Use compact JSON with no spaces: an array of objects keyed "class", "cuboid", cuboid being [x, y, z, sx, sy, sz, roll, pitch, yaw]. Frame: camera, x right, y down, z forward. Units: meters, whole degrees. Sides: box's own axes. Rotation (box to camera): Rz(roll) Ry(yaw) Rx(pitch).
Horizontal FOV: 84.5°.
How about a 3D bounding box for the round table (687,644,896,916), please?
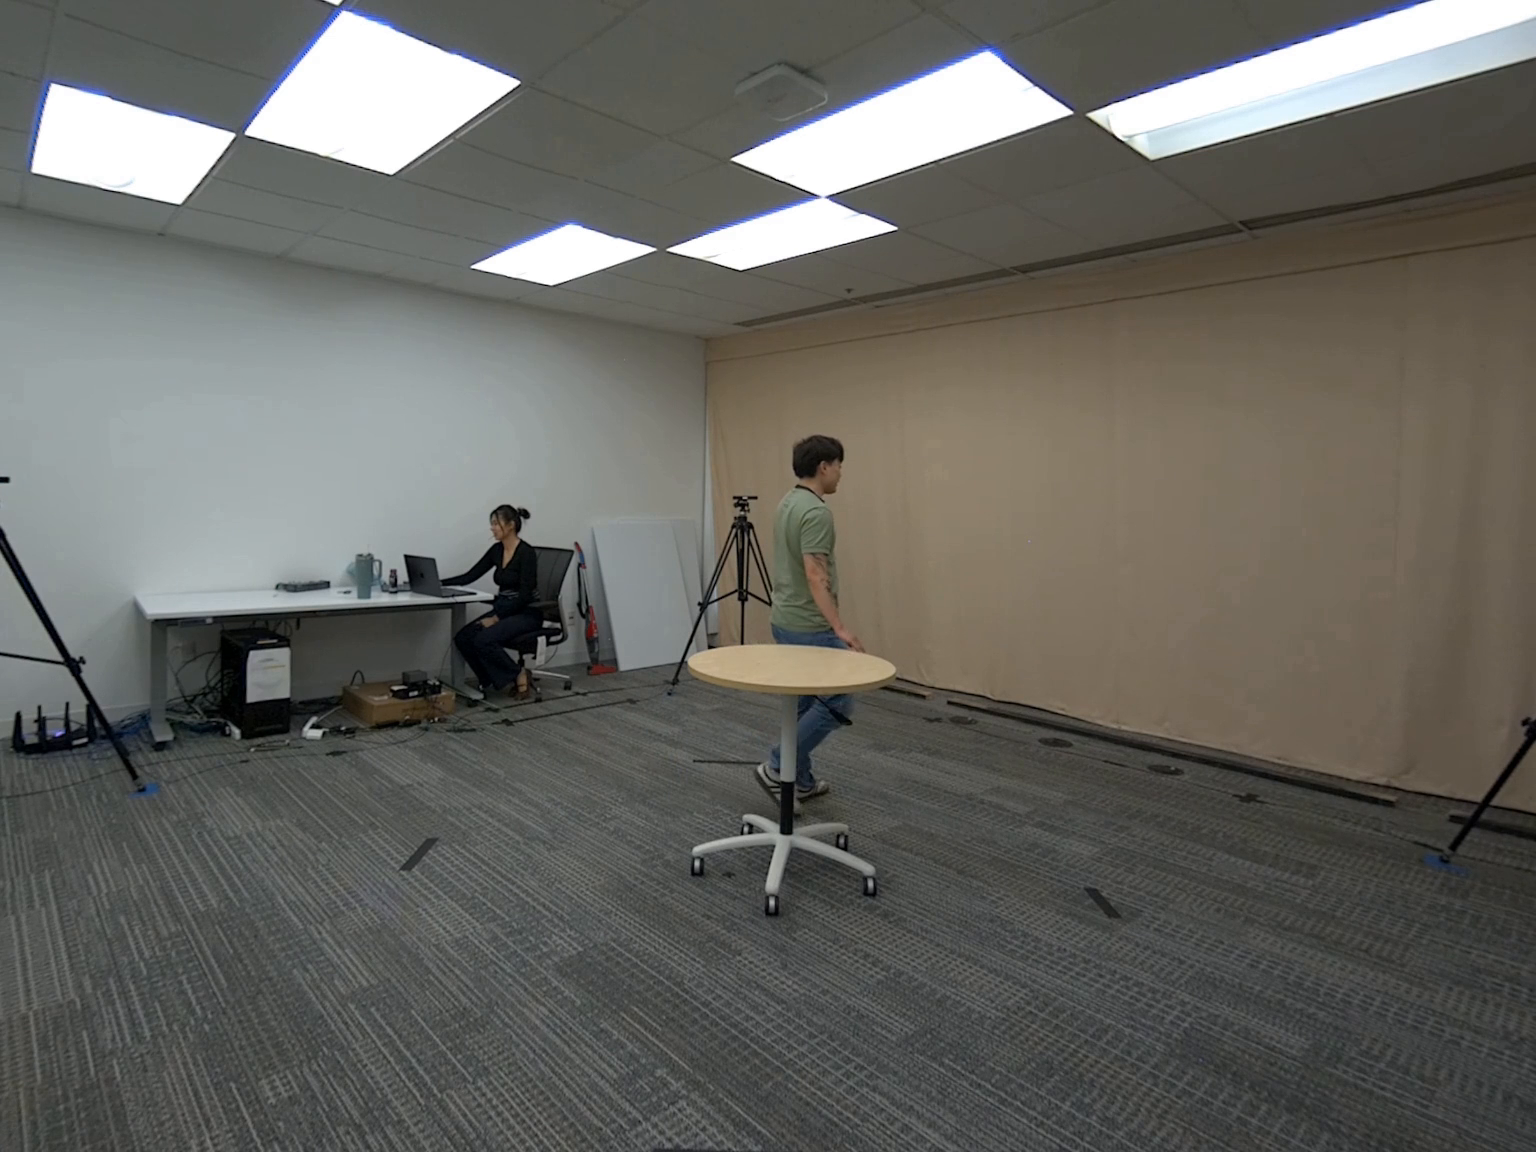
[{"class":"round table","cuboid":[0.068,0.715,3.137,0.763,0.792,0.766,1,4,-1]}]
